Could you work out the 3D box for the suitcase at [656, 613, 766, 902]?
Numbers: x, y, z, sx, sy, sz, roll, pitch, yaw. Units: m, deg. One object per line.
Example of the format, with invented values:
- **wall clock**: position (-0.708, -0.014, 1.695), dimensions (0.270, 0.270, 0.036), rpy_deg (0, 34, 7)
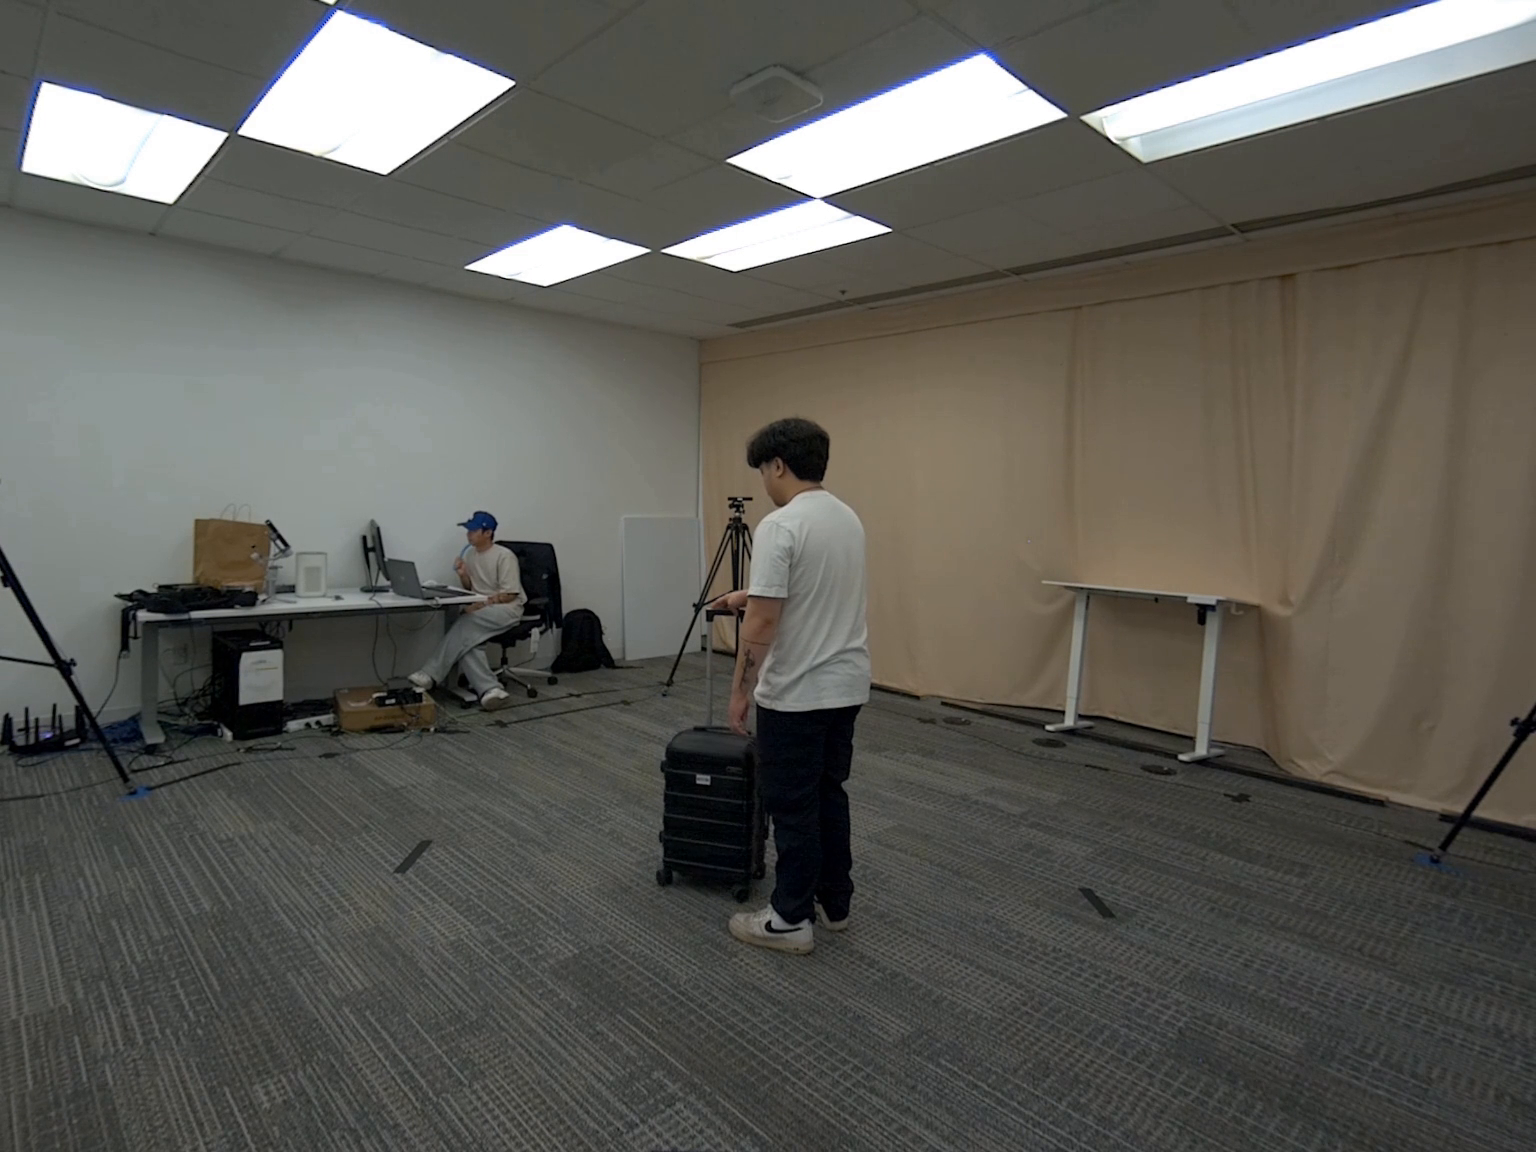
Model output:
- **suitcase**: position (-0.189, 0.639, 3.043), dimensions (0.389, 0.975, 0.254), rpy_deg (3, 5, 16)
